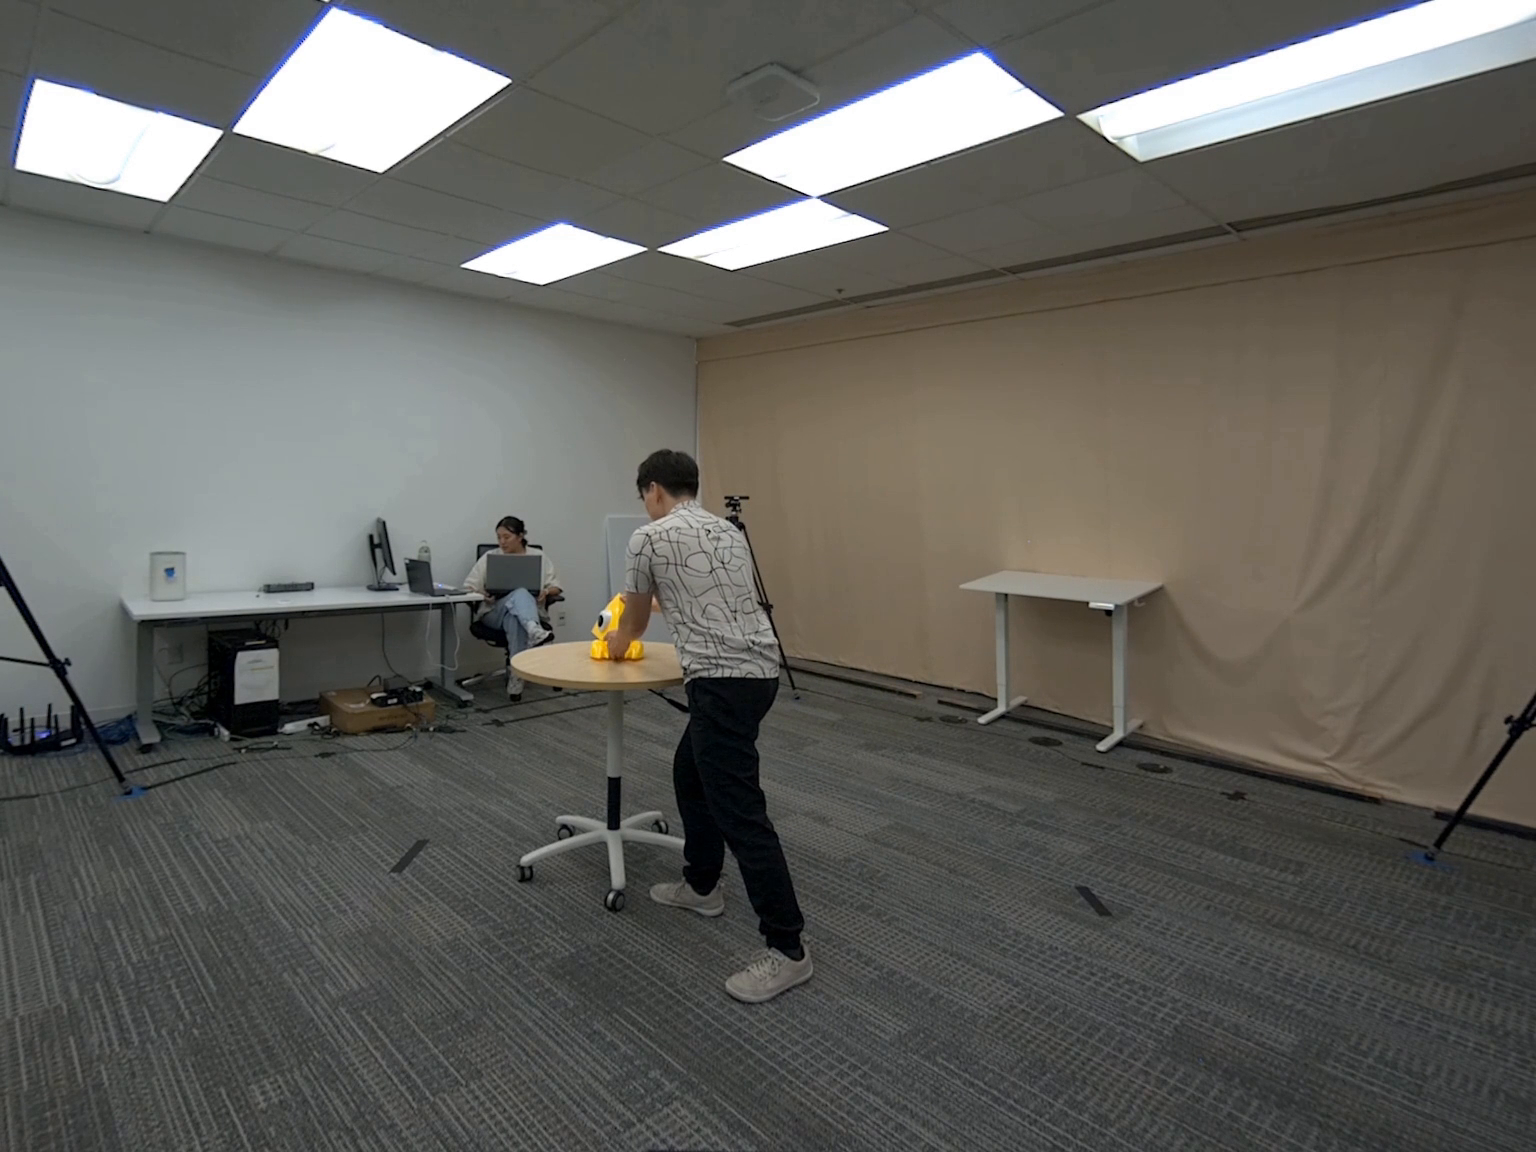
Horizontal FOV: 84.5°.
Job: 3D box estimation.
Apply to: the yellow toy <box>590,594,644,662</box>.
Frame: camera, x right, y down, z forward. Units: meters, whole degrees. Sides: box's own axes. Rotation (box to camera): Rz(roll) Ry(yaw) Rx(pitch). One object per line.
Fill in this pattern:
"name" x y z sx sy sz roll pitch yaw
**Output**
"yellow toy" -0.573 0.187 3.160 0.203 0.230 0.194 2 1 -7
